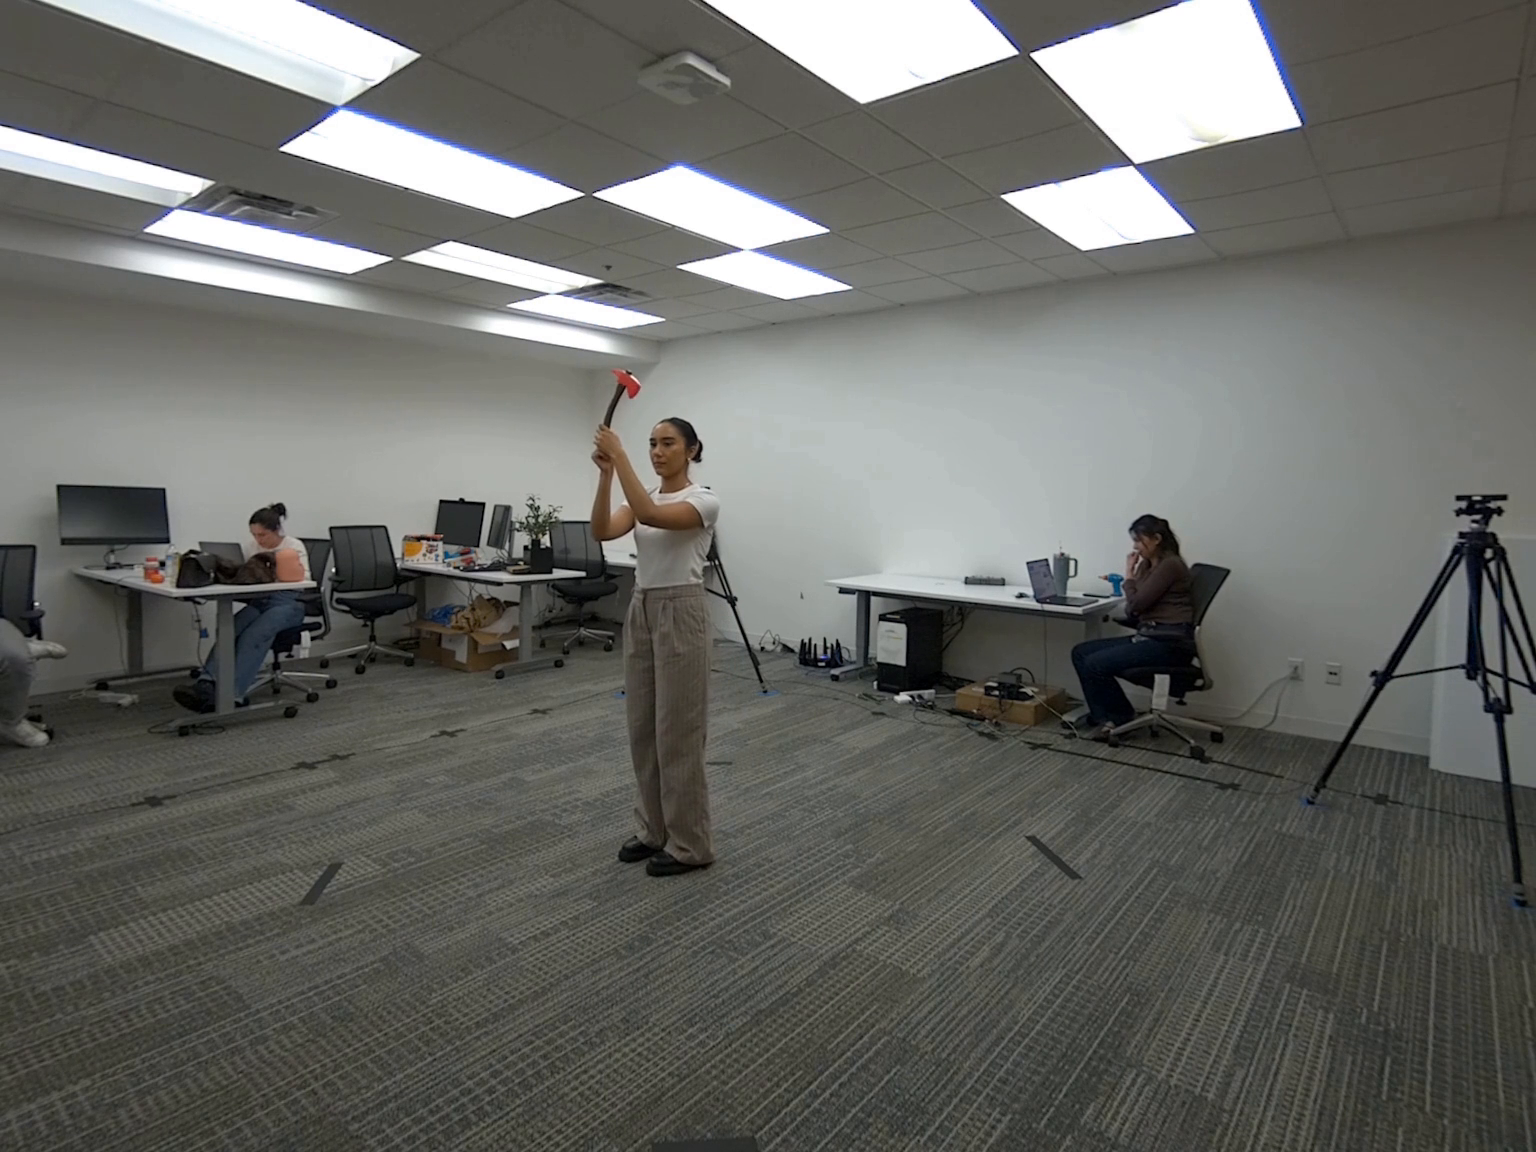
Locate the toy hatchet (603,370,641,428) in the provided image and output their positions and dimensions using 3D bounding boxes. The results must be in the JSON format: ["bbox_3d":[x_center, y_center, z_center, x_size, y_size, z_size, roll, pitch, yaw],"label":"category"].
[{"bbox_3d":[-0.523,-0.587,2.947,0.135,0.268,0.029,14,9,23],"label":"toy hatchet"}]
